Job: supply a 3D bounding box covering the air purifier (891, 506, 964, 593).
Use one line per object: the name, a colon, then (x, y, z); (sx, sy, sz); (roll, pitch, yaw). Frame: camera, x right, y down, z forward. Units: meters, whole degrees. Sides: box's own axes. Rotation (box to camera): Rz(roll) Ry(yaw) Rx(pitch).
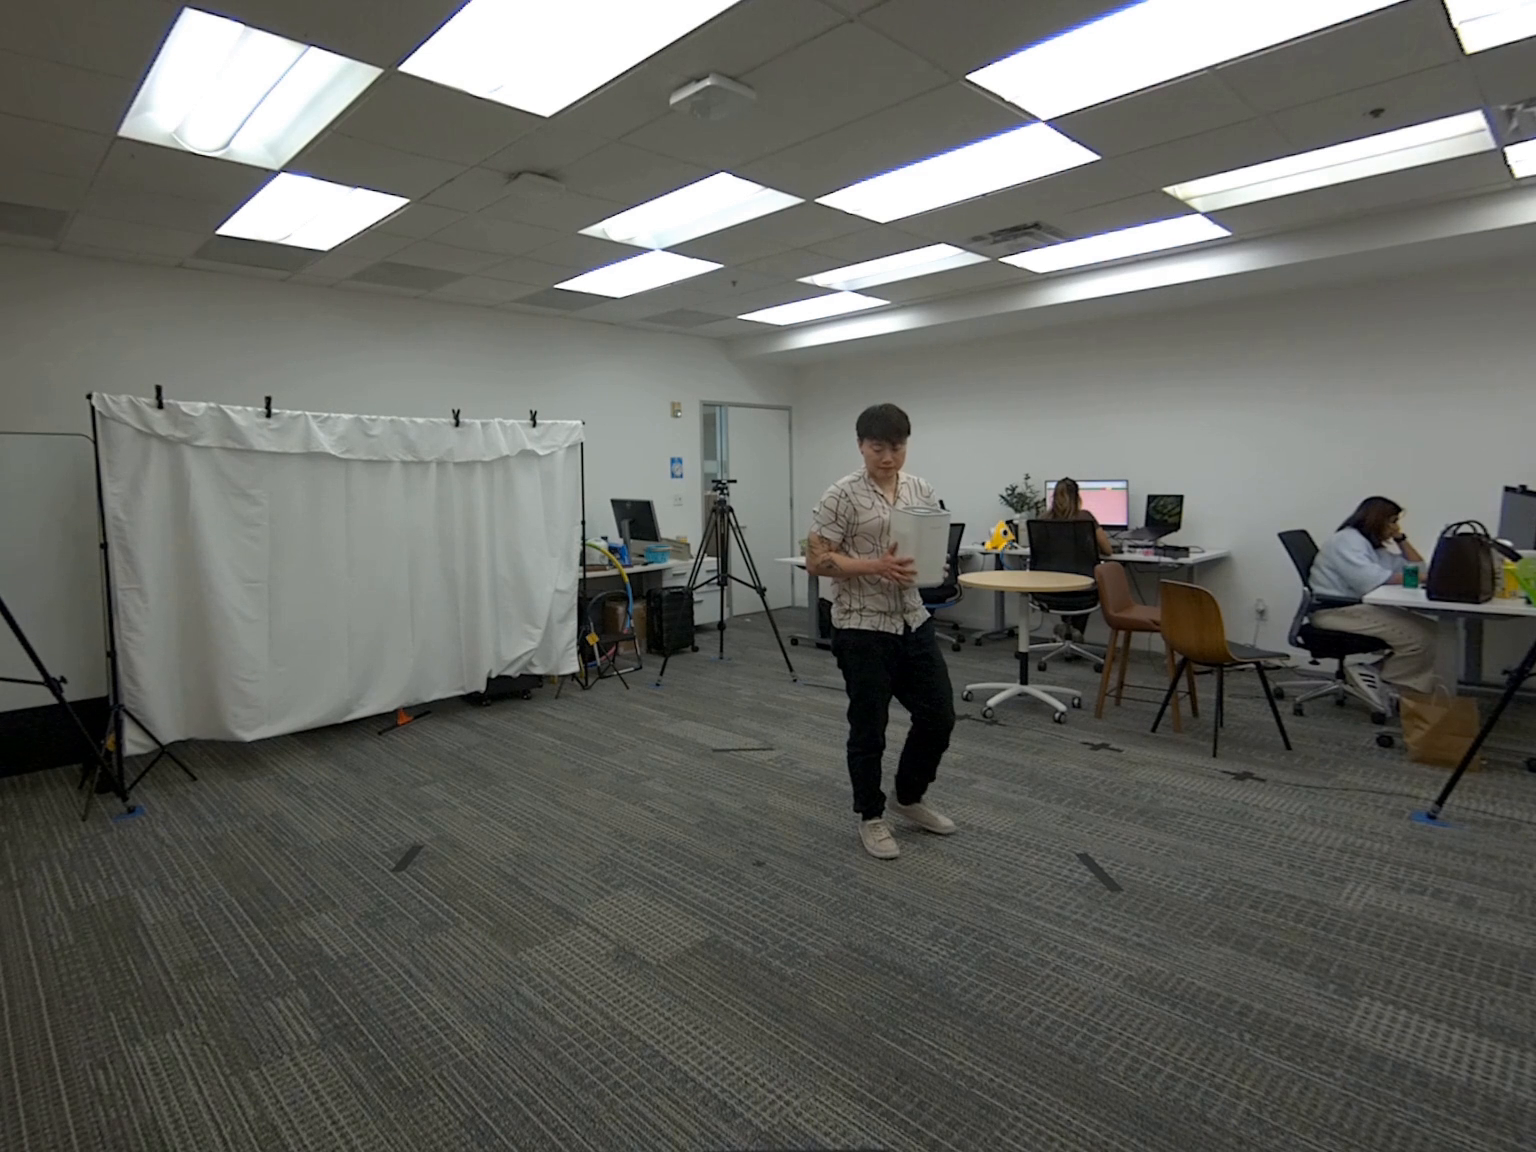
air purifier: (0.551, -0.104, 3.005); (0.167, 0.263, 0.177); (-7, 14, -33)
